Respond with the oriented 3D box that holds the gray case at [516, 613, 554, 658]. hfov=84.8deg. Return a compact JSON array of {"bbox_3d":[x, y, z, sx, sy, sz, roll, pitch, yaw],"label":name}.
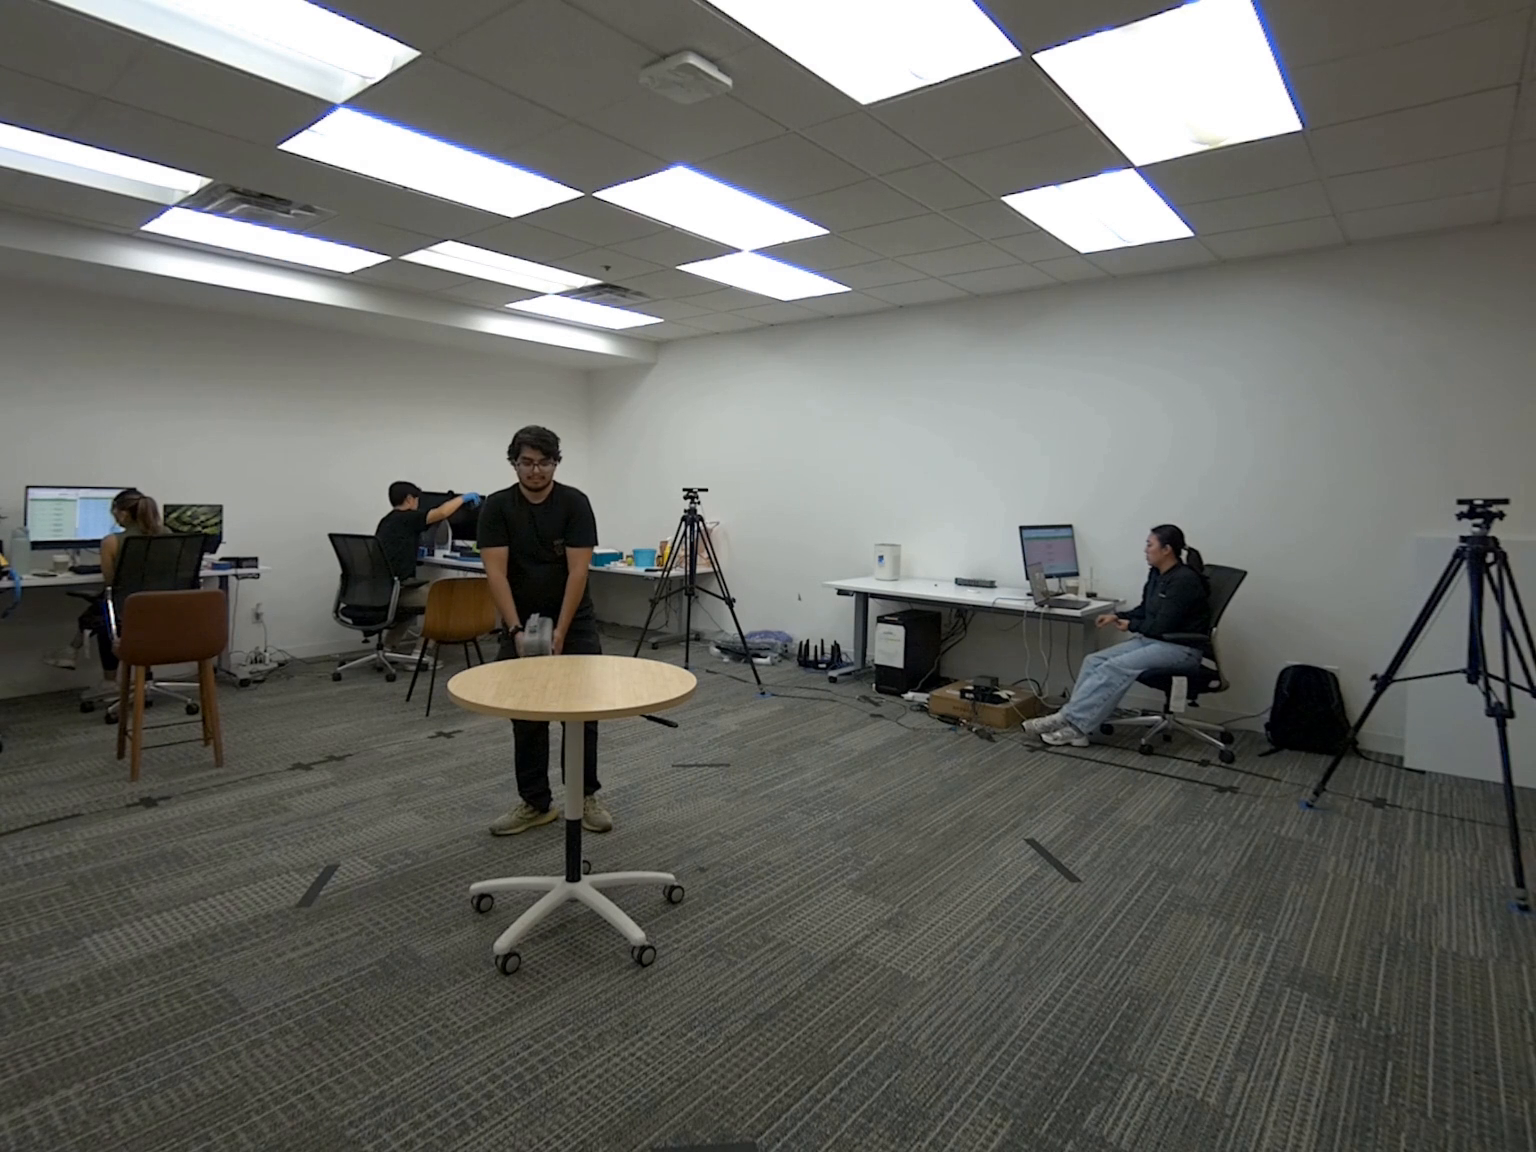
[{"bbox_3d":[-0.868,0.302,3.178,0.103,0.257,0.263,2,14,-13],"label":"gray case"}]
